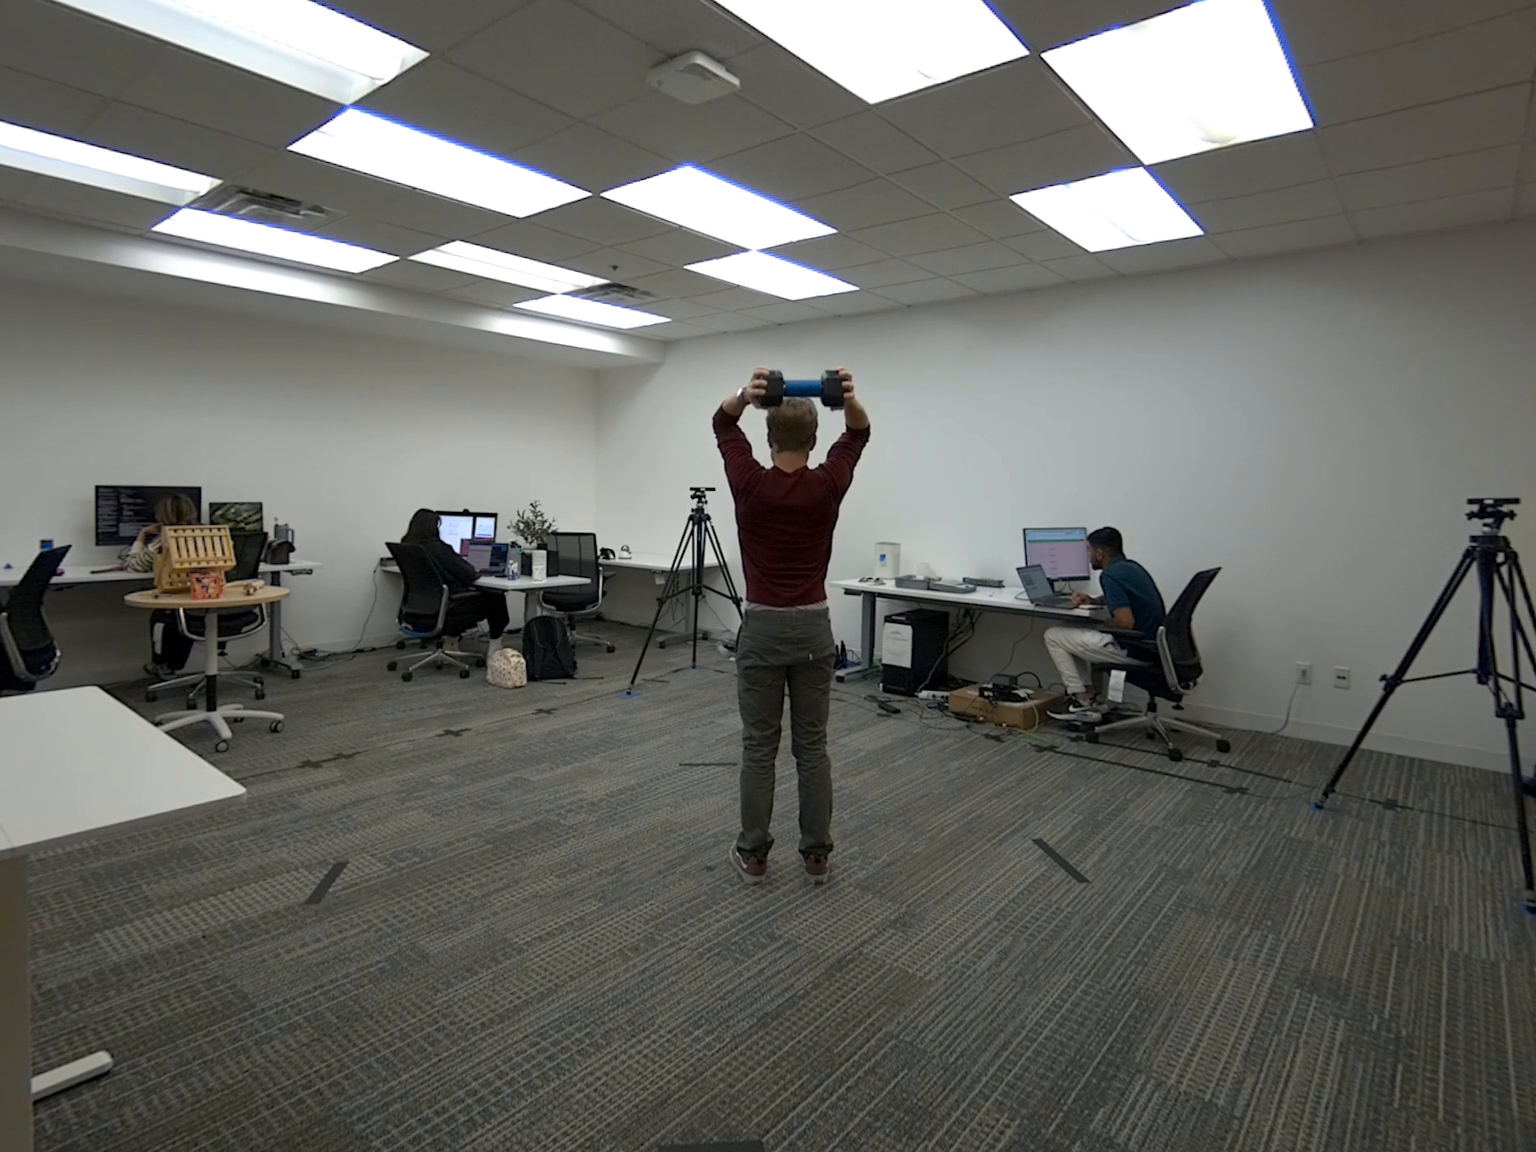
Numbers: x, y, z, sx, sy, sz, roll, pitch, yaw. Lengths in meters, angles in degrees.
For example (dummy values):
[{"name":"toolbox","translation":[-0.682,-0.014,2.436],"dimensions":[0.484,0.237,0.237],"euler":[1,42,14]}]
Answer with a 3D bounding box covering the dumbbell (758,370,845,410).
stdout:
[{"name":"dumbbell","translation":[0.105,-0.631,2.870],"dimensions":[0.297,0.106,0.125],"euler":[1,31,12]}]
